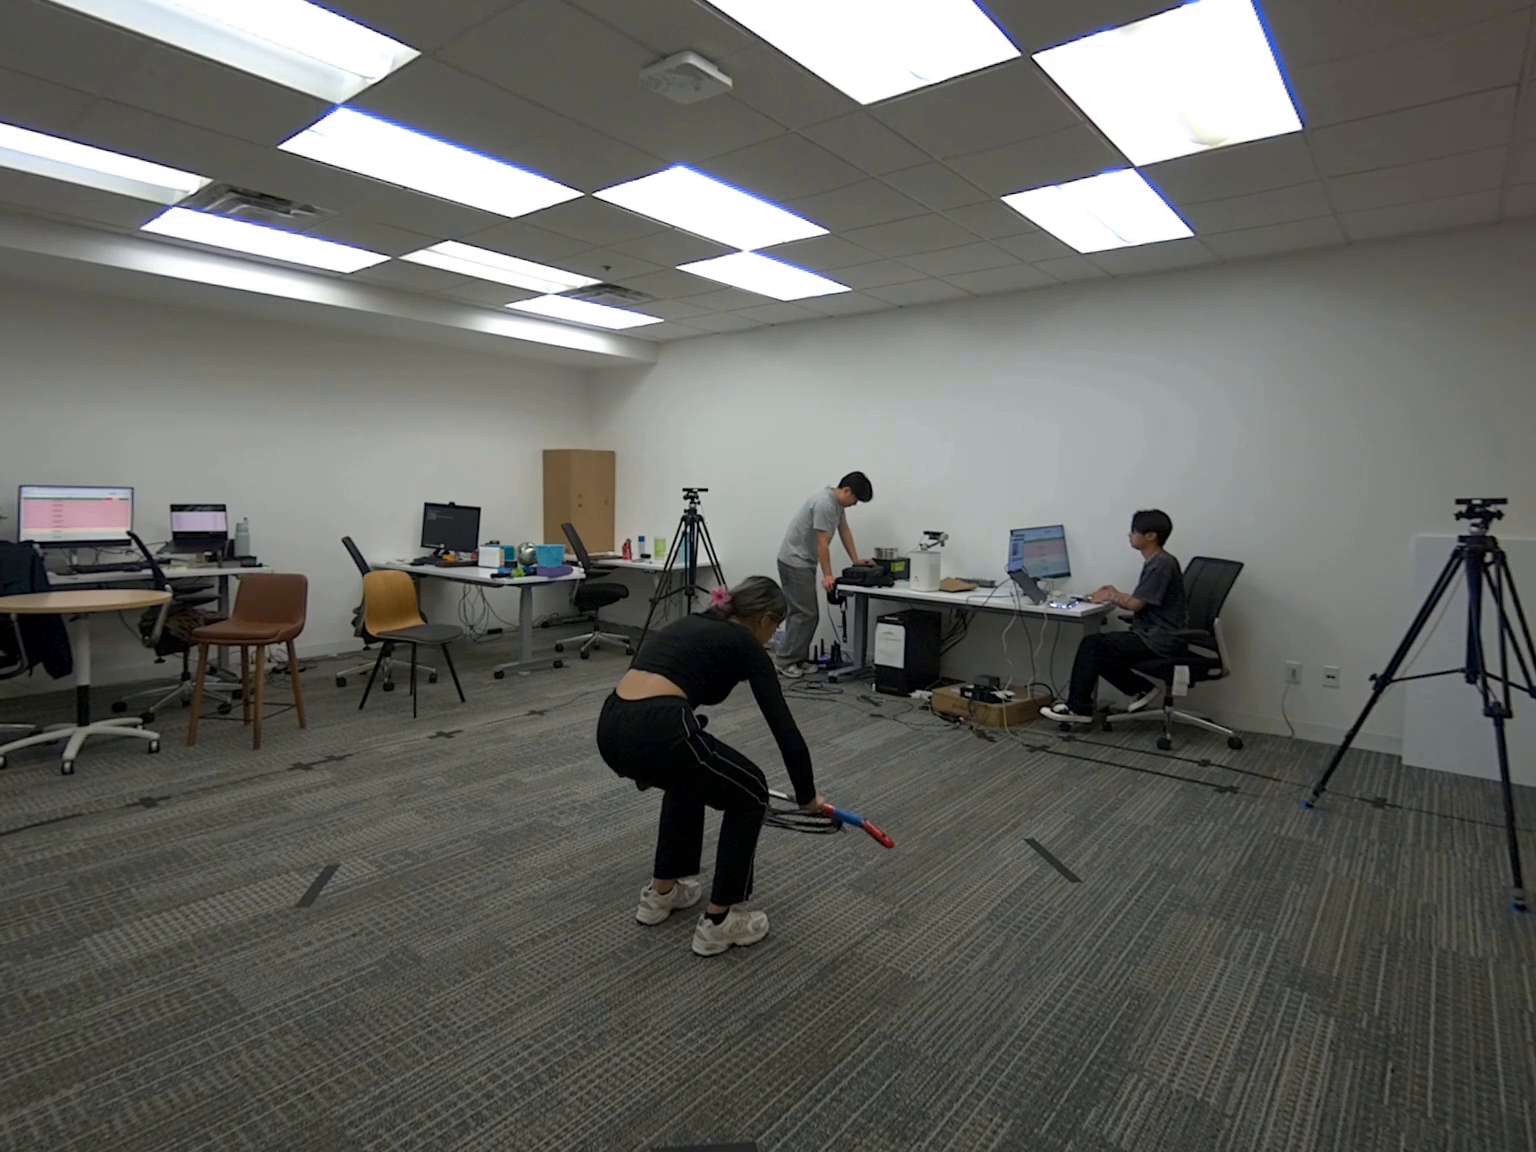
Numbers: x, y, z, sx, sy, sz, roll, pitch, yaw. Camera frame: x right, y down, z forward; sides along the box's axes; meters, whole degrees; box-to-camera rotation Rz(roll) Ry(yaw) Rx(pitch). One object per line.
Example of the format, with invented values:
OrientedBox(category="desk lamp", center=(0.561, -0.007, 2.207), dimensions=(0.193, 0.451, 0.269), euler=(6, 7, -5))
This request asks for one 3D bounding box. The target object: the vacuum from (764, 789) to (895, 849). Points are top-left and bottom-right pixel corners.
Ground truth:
OrientedBox(category="vacuum", center=(-0.046, 0.755, 2.888), dimensions=(1.085, 0.142, 0.248), euler=(5, 19, 39))
